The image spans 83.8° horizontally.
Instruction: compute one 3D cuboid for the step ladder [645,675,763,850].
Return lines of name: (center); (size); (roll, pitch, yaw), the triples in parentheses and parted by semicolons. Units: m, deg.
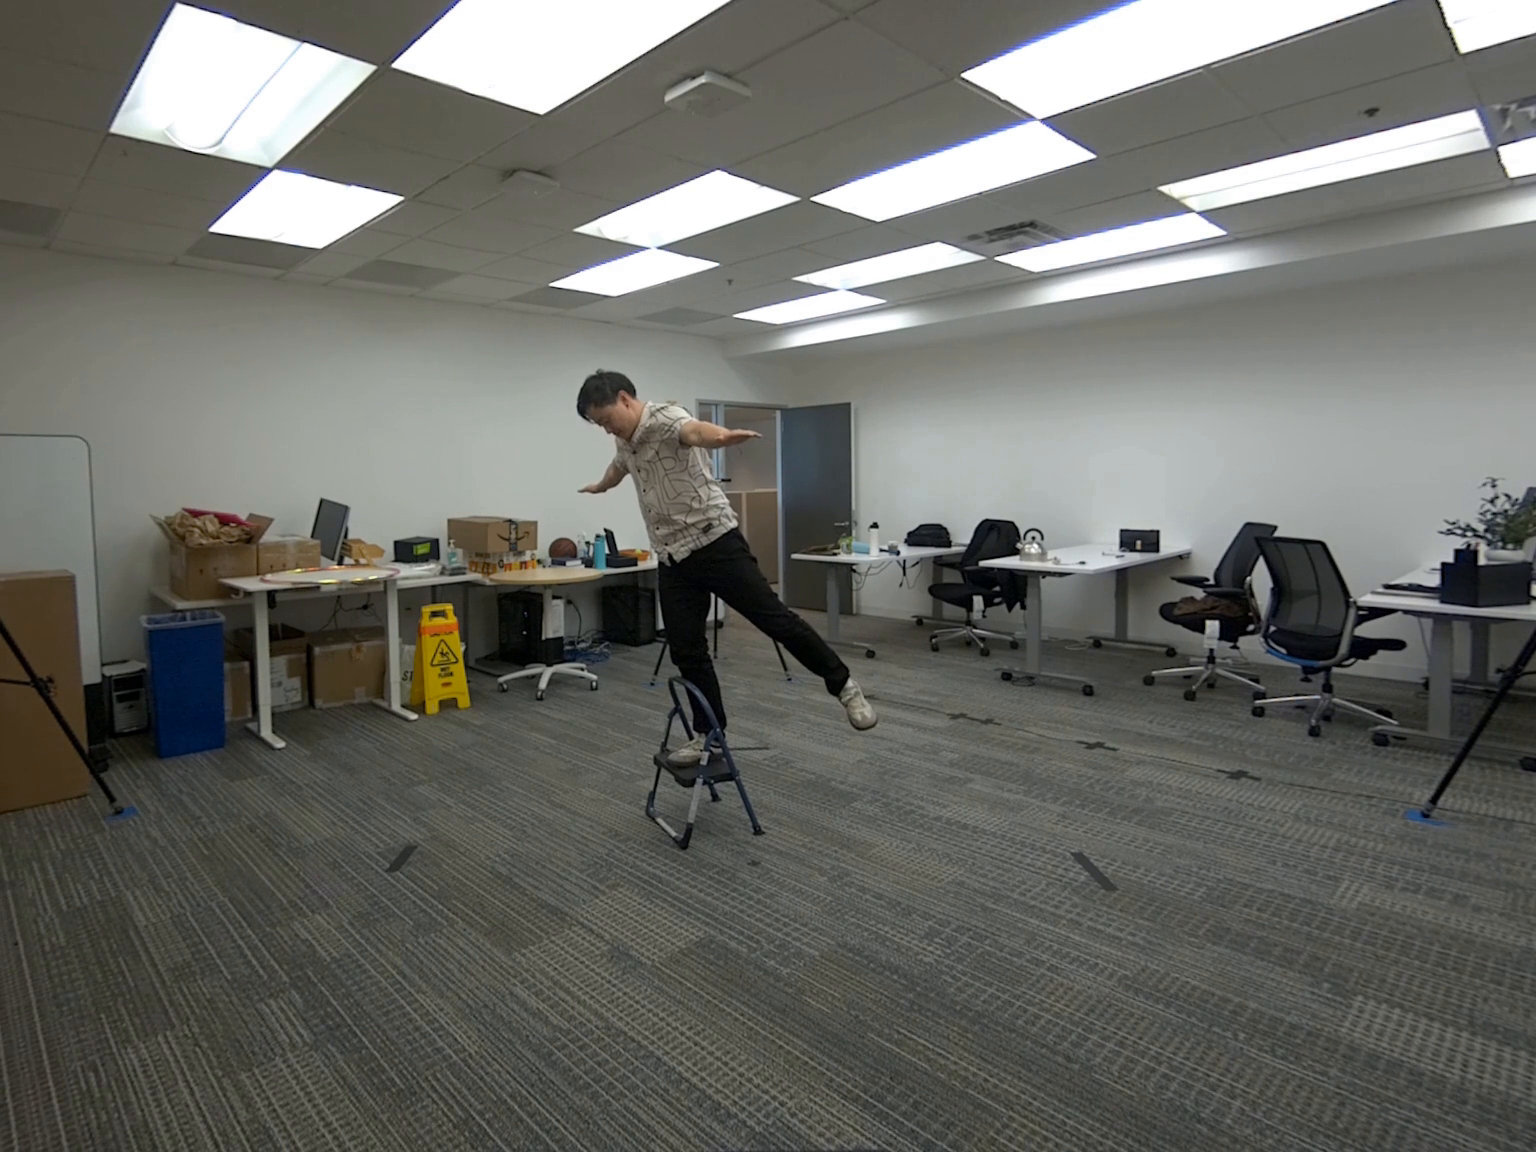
step ladder: (-0.270, 0.704, 3.462); (0.341, 0.604, 0.442); (-3, 4, -28)
